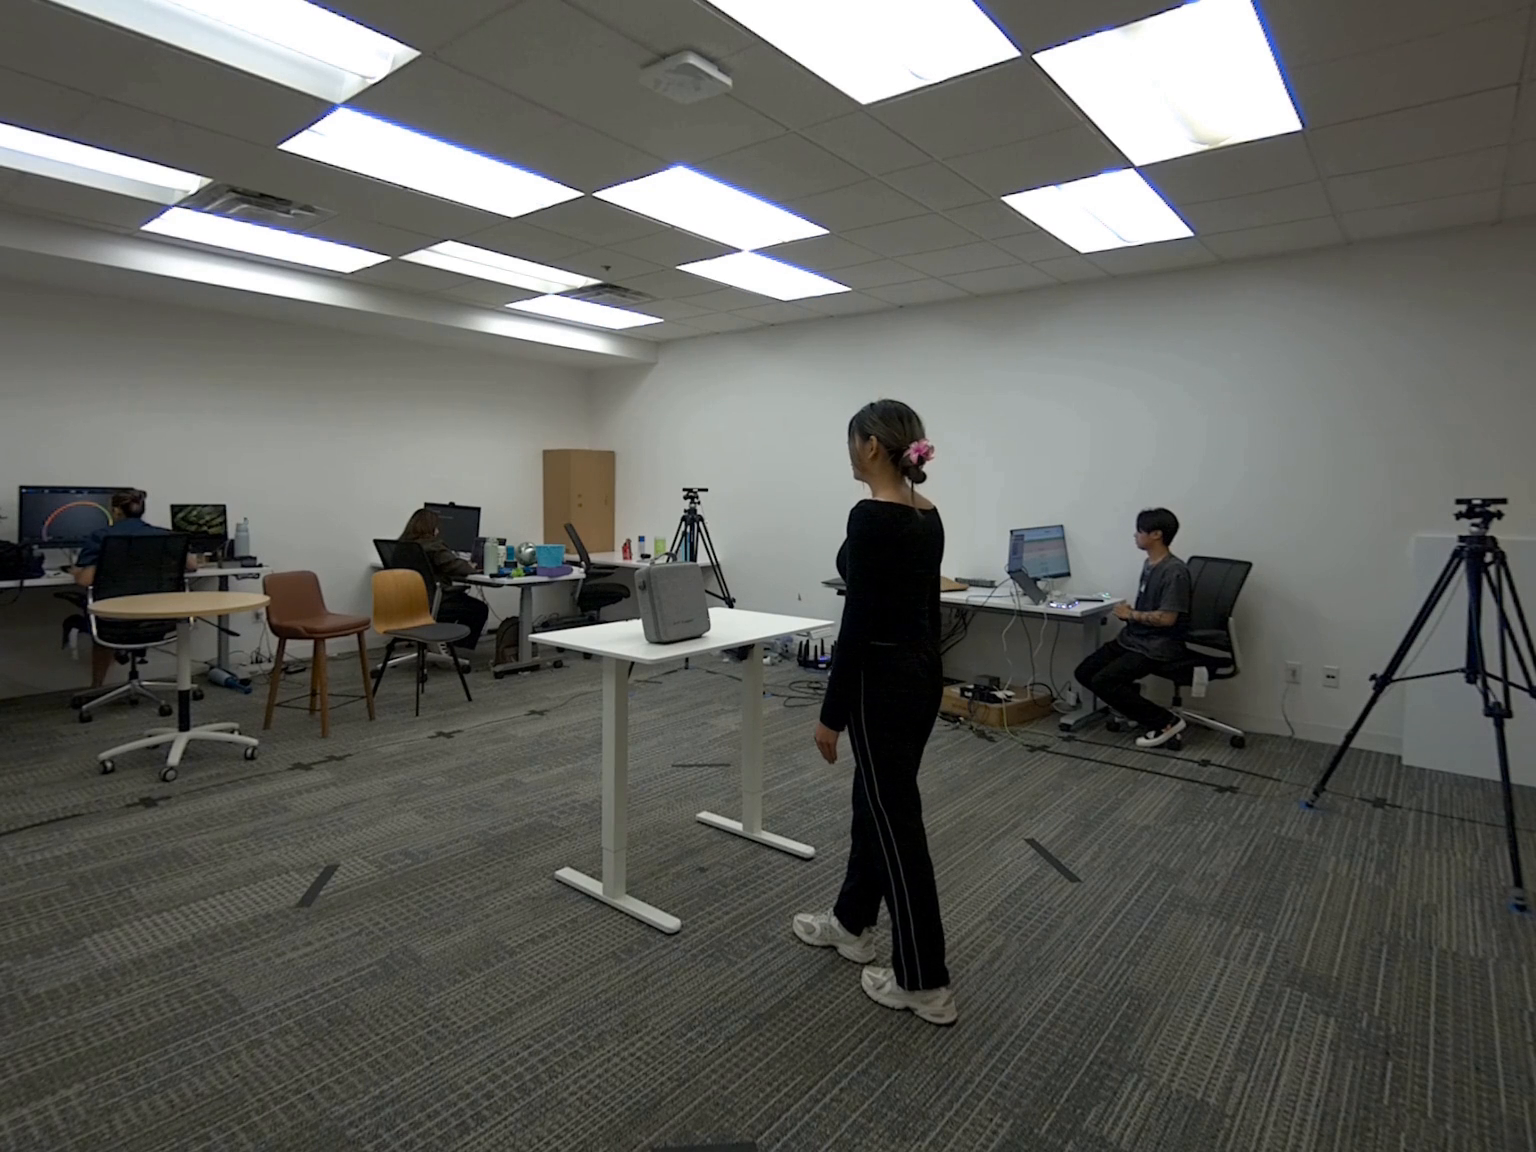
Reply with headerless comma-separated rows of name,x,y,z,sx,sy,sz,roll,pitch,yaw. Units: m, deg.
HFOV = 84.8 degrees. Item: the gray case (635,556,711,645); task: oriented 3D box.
gray case,-0.326,0.081,2.856,0.107,0.262,0.249,-13,-5,37
